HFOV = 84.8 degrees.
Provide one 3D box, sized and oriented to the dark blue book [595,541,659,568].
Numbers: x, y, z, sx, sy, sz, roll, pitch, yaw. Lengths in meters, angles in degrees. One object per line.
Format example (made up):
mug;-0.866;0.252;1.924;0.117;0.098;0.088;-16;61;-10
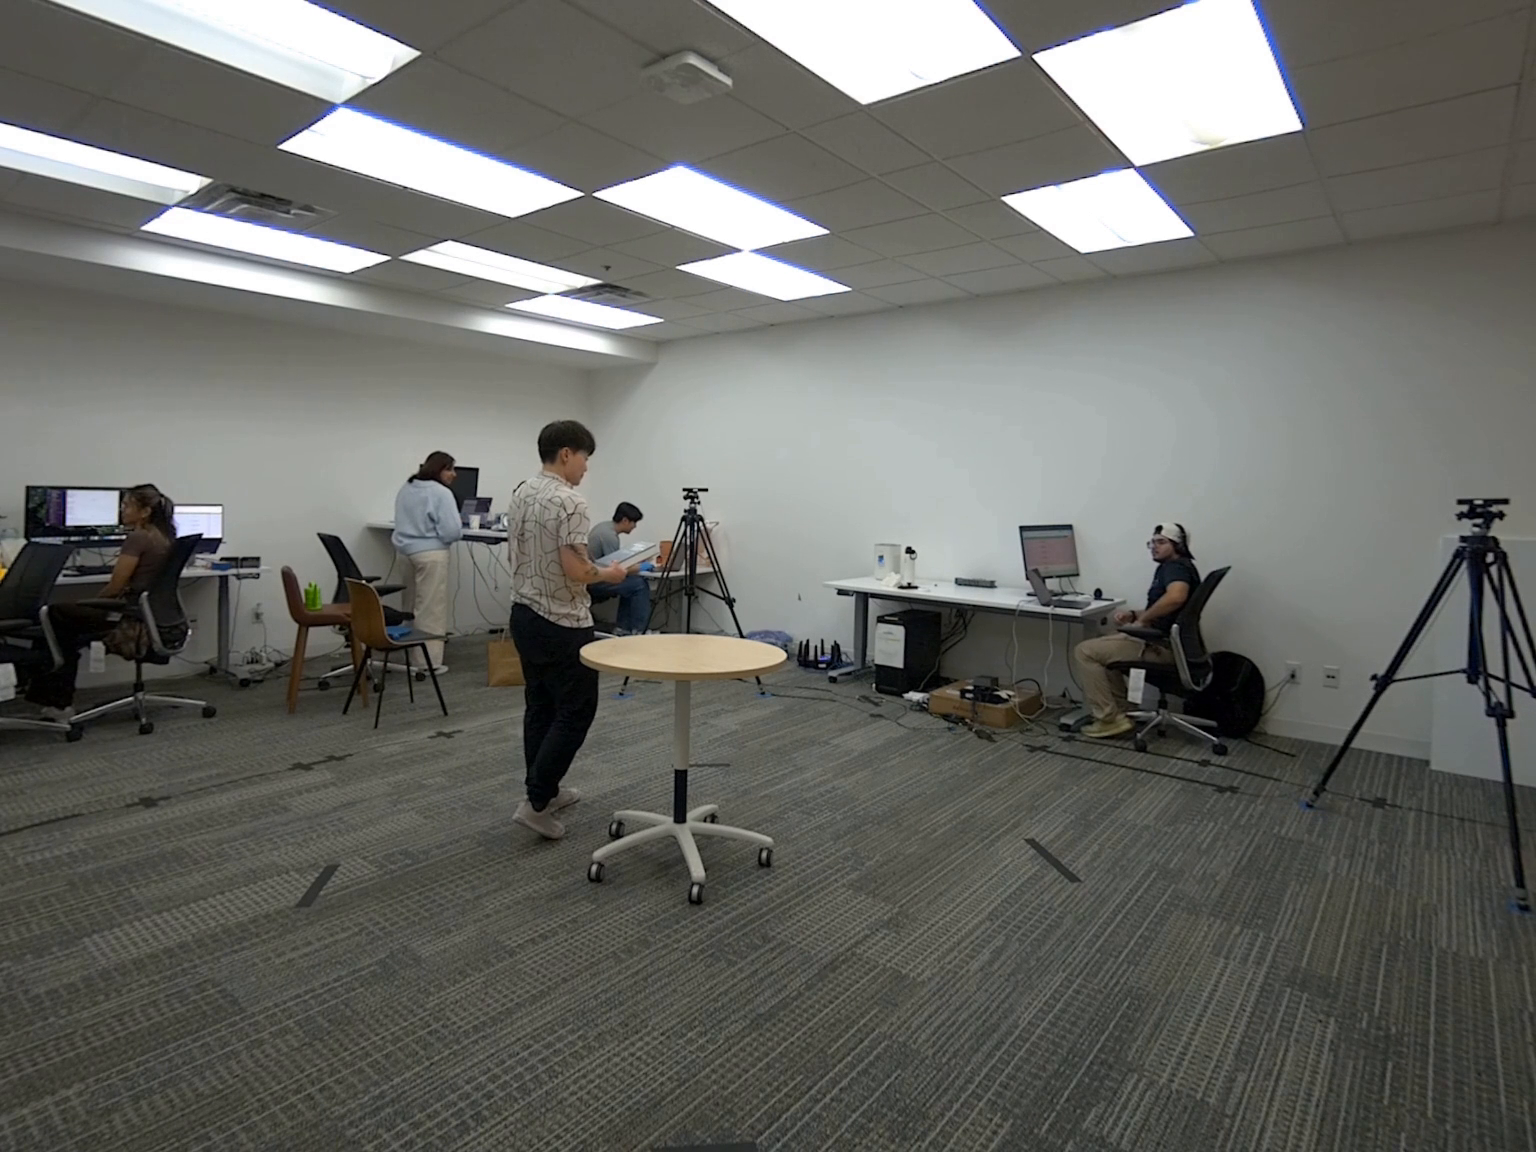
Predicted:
dark blue book;-0.623;-0.086;3.727;0.241;0.044;0.169;-28;24;-34
